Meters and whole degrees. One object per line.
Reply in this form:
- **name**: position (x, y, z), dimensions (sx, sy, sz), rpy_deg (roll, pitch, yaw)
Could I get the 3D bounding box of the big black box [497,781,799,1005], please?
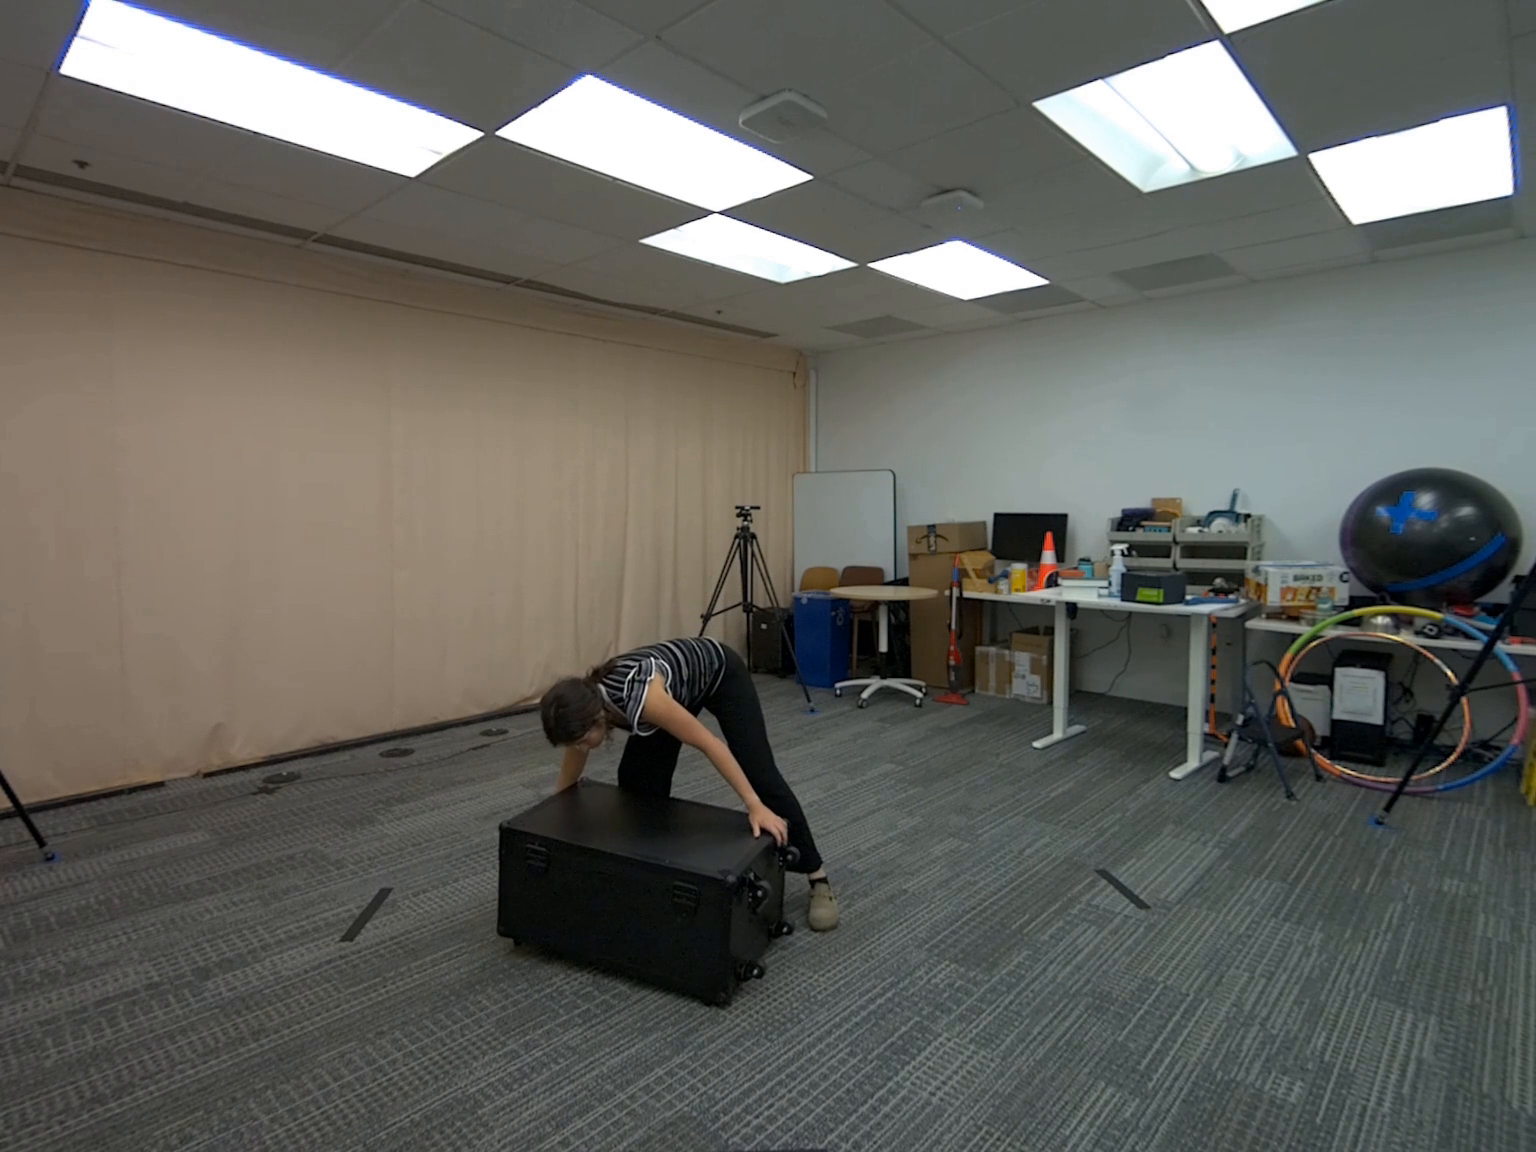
- **big black box**: position (-0.363, 0.965, 2.653), dimensions (0.882, 0.395, 0.510), rpy_deg (5, 4, 22)
